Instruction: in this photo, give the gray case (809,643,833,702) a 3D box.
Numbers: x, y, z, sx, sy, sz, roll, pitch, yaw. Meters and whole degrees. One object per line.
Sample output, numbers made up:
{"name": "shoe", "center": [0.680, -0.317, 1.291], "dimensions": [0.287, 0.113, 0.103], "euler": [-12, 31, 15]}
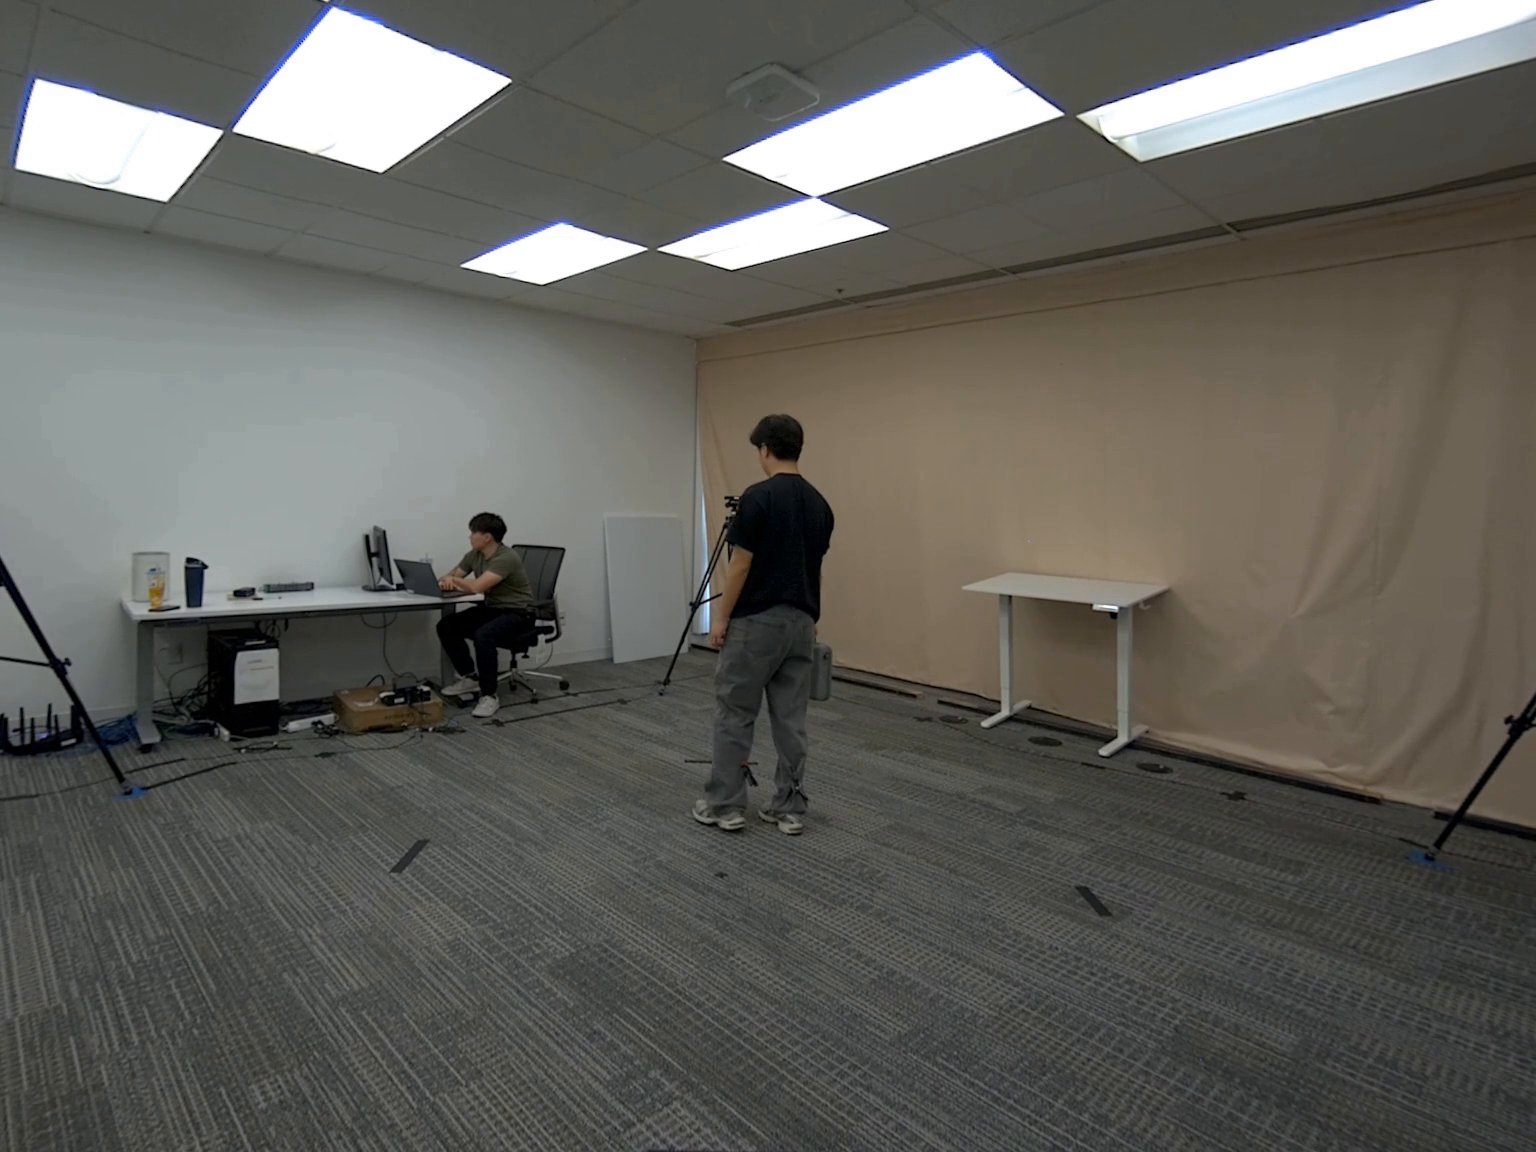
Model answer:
{"name": "gray case", "center": [0.164, 0.419, 3.843], "dimensions": [0.100, 0.287, 0.269], "euler": [2, -1, -42]}
